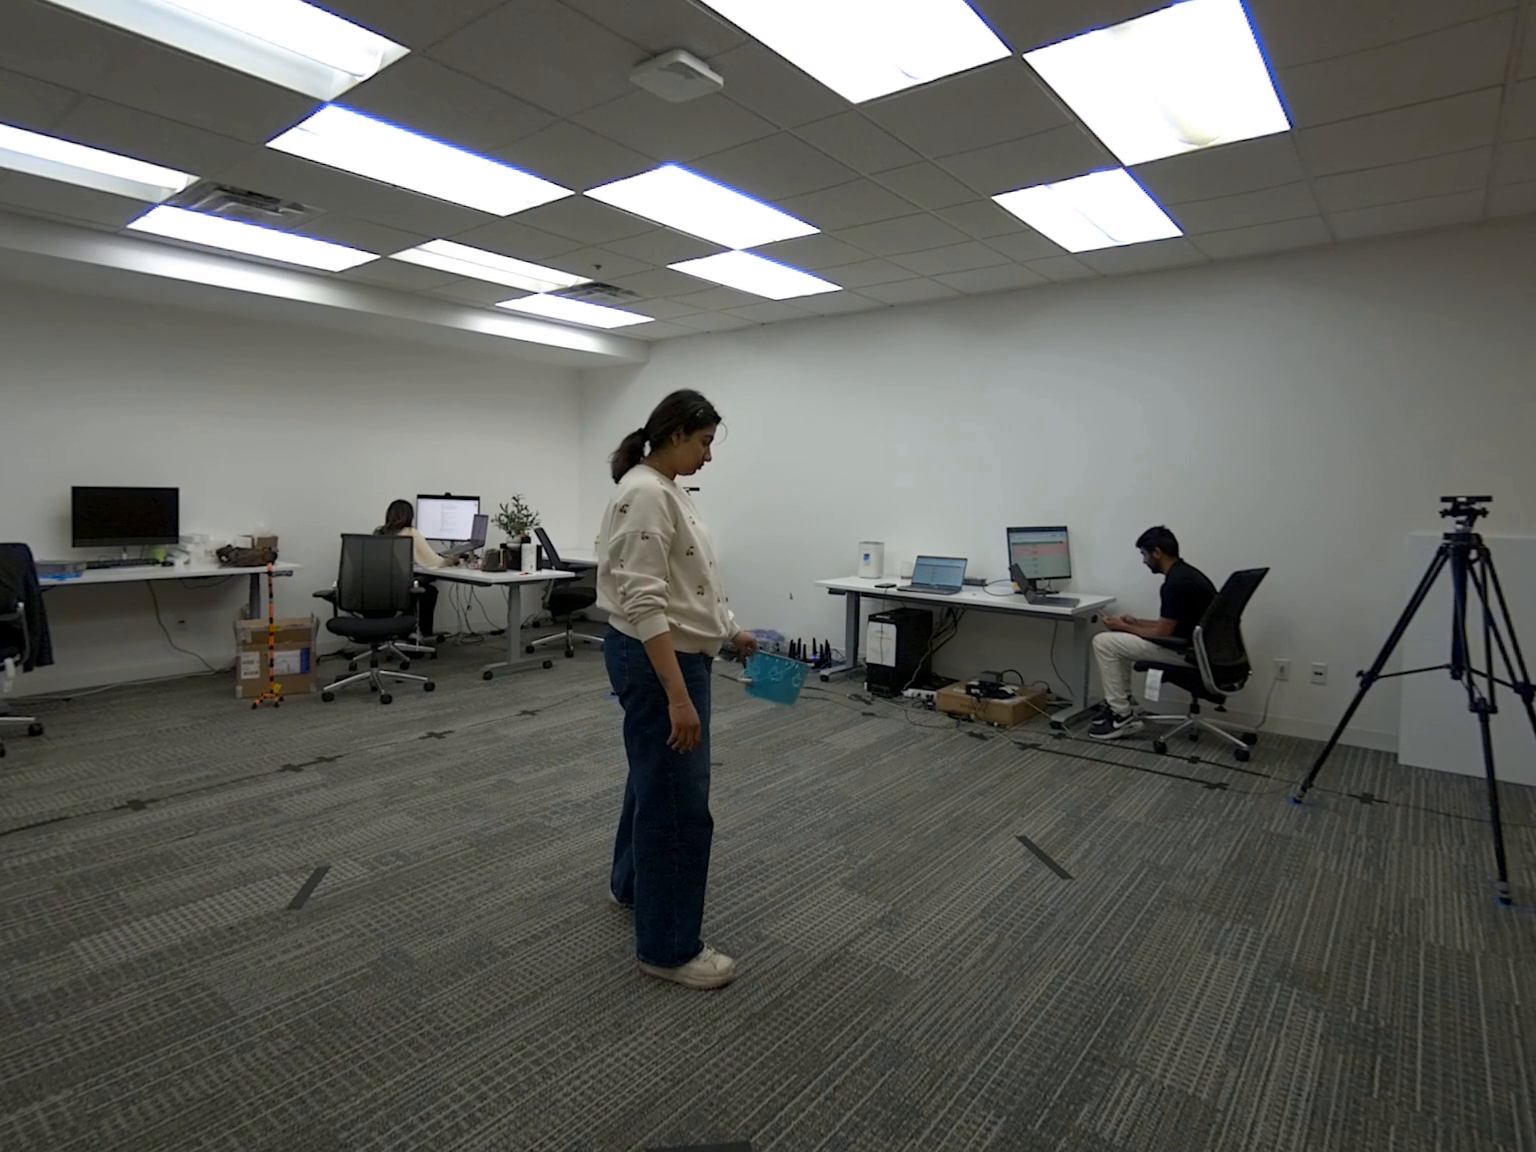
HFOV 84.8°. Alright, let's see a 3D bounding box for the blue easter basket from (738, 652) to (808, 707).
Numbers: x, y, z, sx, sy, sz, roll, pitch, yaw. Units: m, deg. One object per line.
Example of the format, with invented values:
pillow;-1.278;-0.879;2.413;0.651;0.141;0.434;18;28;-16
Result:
blue easter basket;-0.004;0.347;2.936;0.244;0.156;0.242;15;-6;0
